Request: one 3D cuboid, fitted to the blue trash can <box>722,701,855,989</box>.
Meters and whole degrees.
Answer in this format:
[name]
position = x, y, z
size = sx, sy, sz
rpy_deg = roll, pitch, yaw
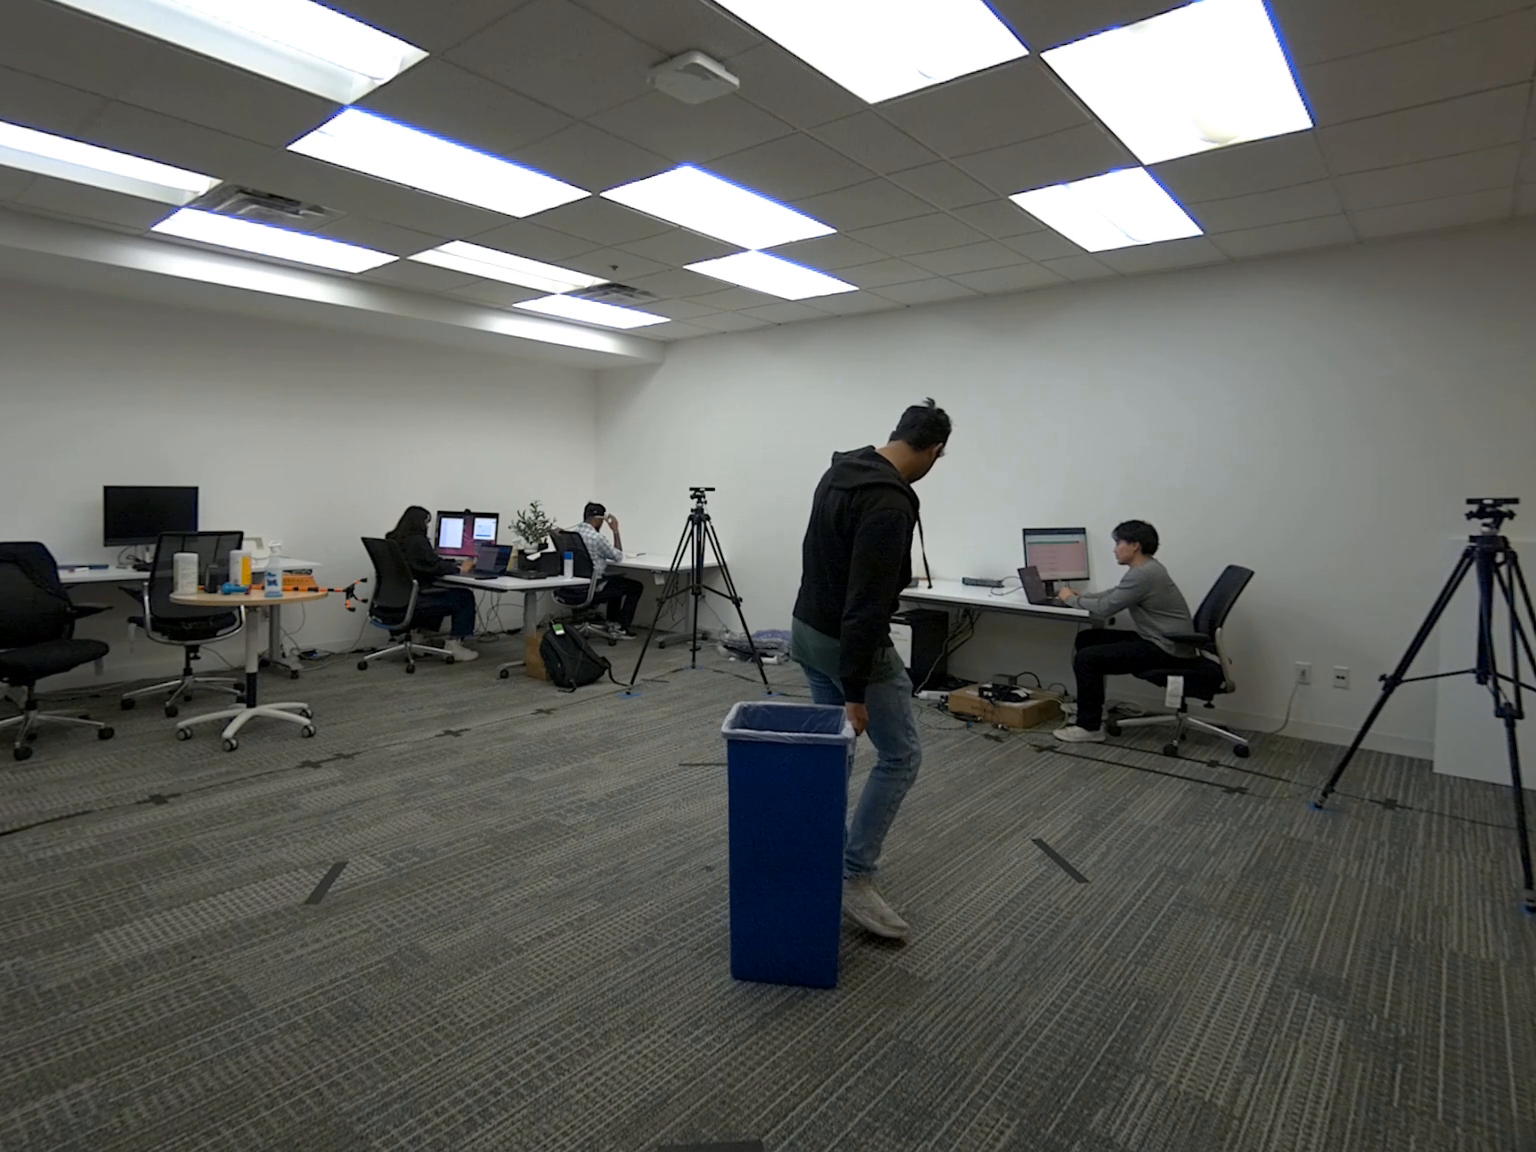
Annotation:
[blue trash can]
position = 0.053, 0.767, 2.525
size = 0.381, 0.711, 0.372
rpy_deg = 2, 3, 7
